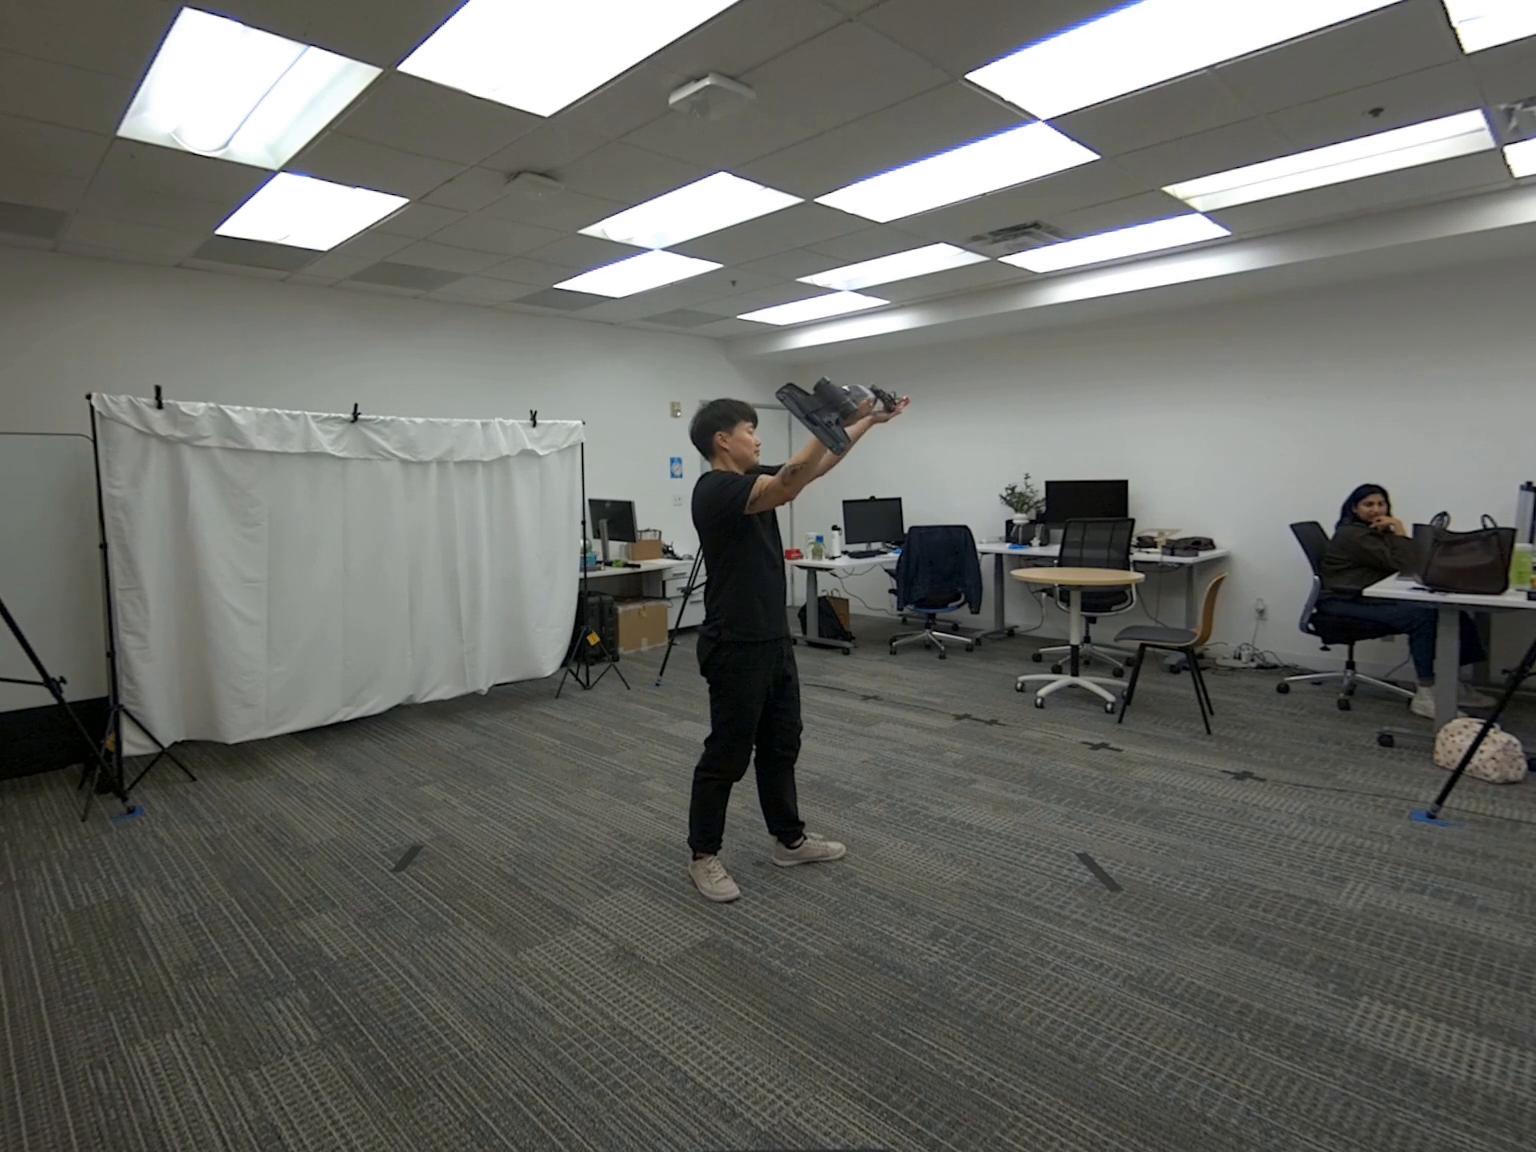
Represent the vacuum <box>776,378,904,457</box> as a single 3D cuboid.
[{"bbox_3d":[0.348,-0.579,2.838,0.256,0.144,1.038,43,25,8],"label":"vacuum"}]
